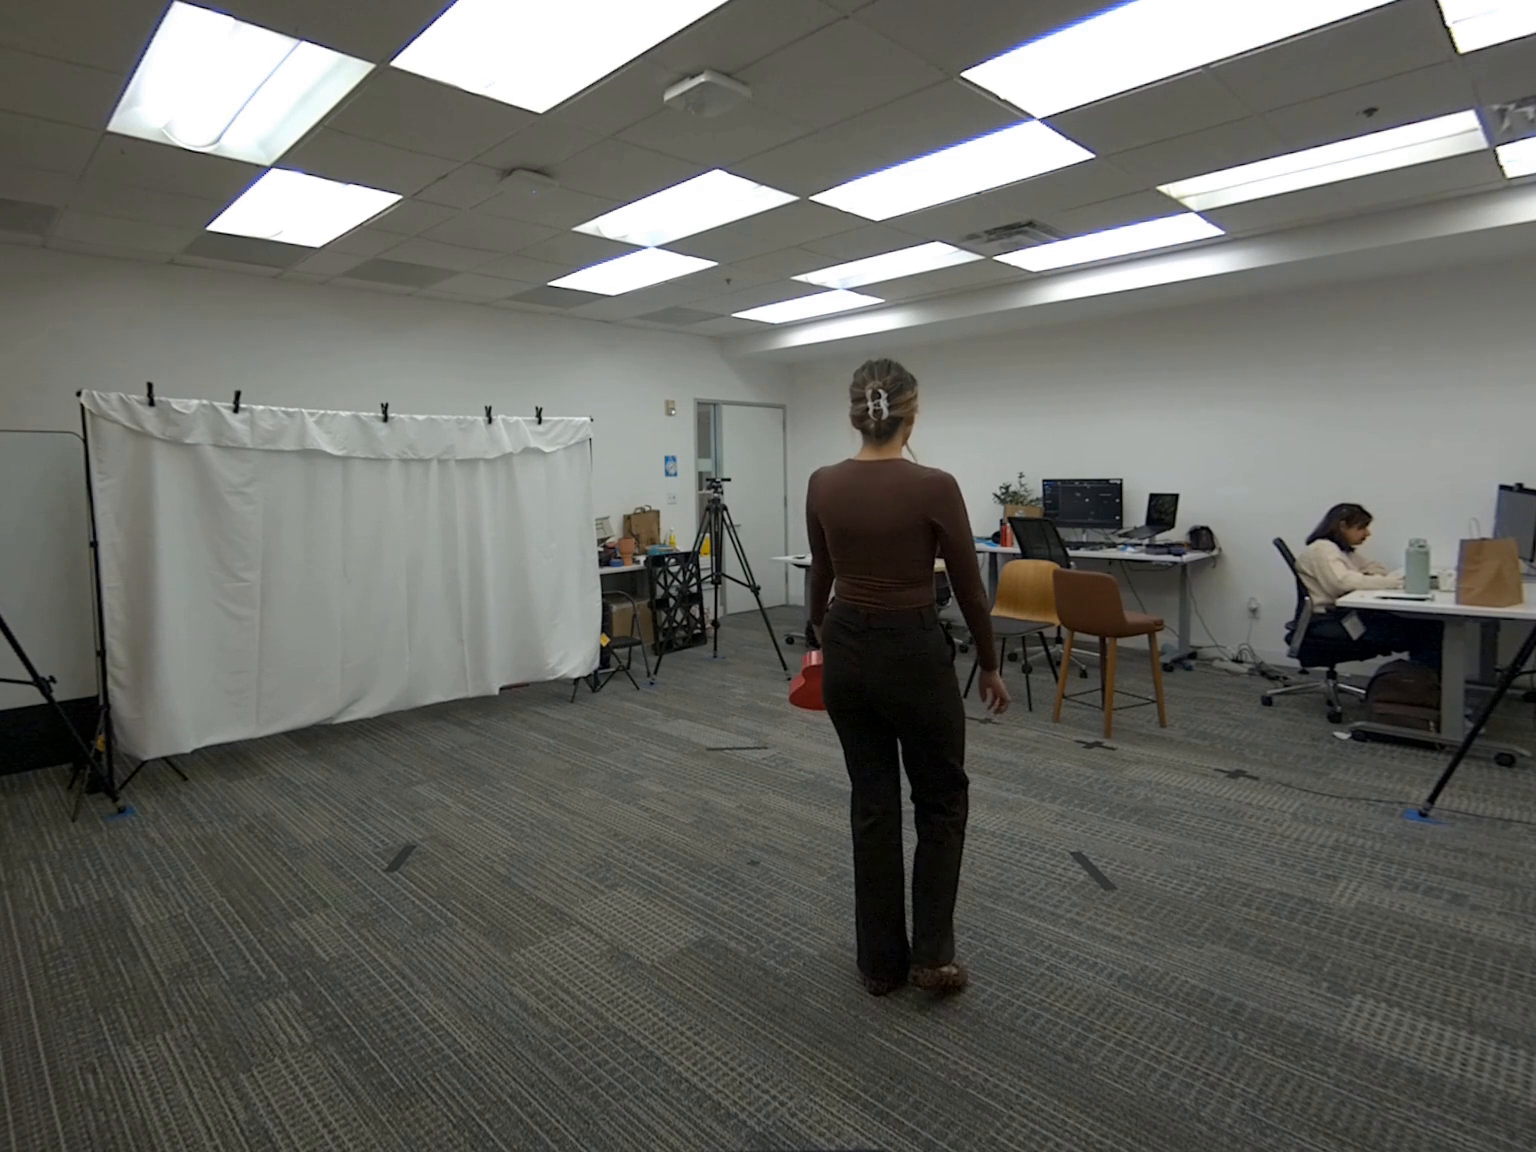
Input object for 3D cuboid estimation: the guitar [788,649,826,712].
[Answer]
[{"bbox_3d":[0.164,0.270,2.824,0.194,0.483,0.072,1,47,5],"label":"guitar"}]
